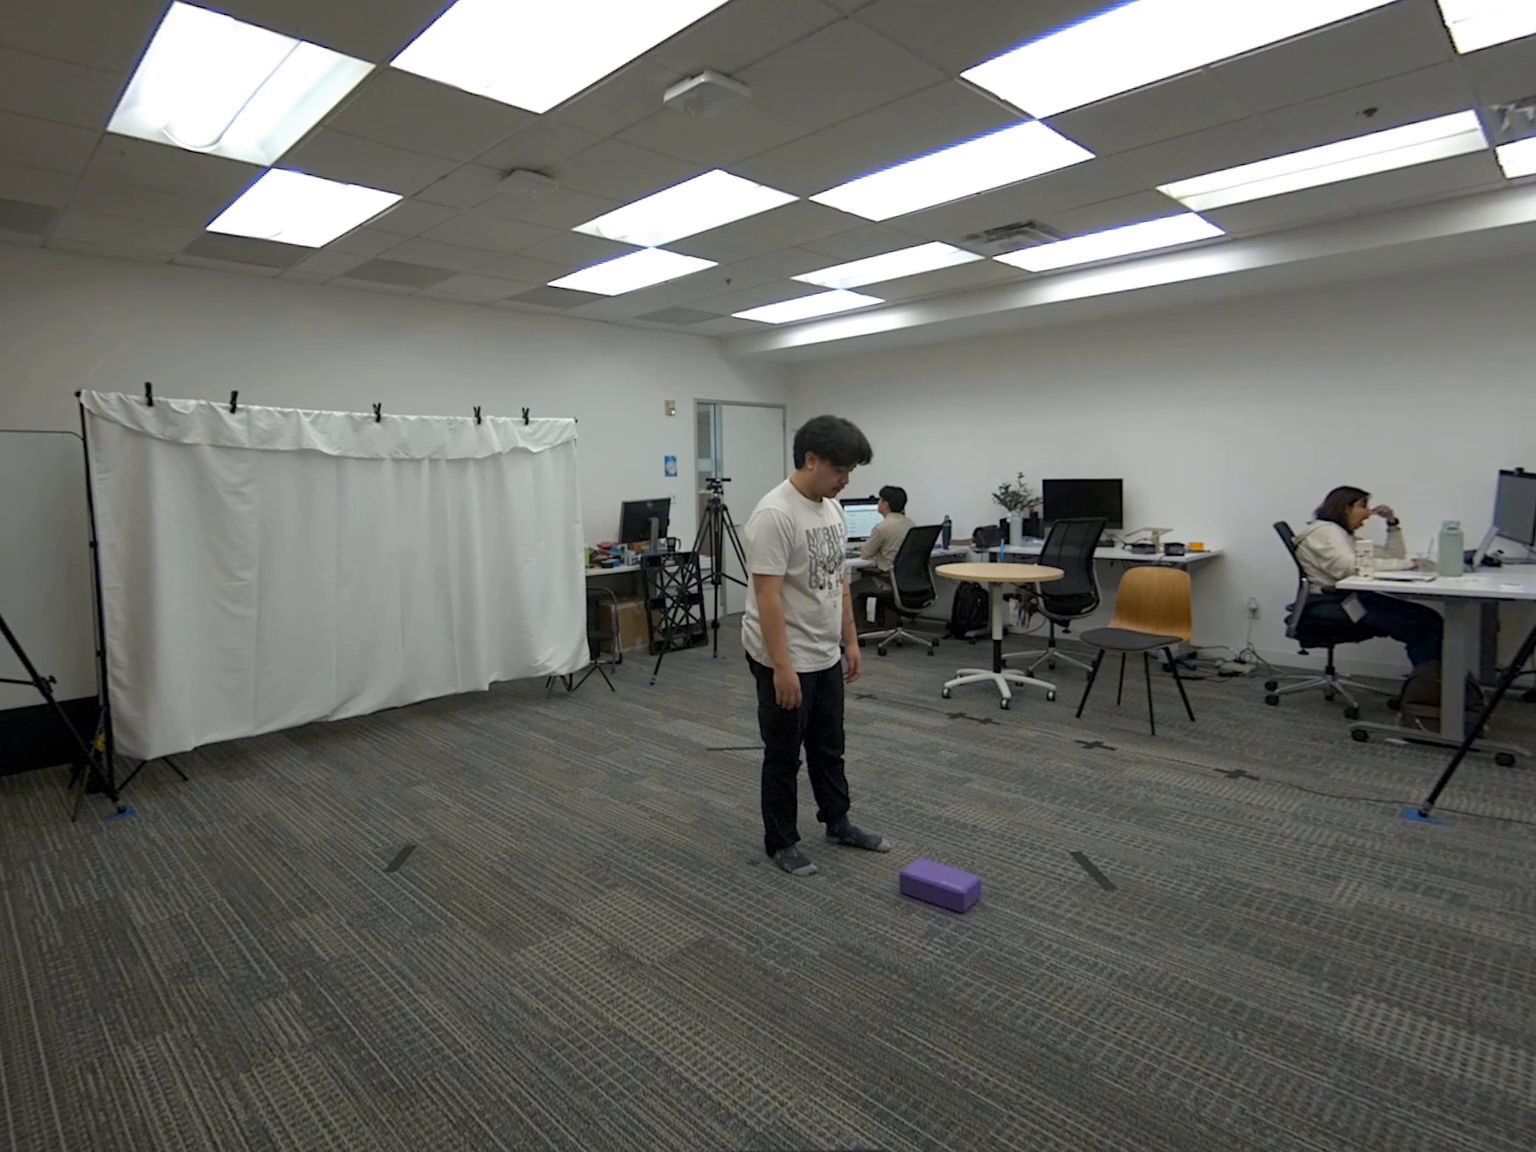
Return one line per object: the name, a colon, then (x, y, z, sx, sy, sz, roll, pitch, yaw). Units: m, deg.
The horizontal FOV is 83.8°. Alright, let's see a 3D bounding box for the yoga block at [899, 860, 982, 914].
yoga block: (0.576, 1.026, 2.832, 0.236, 0.076, 0.145, 4, 7, 38)
